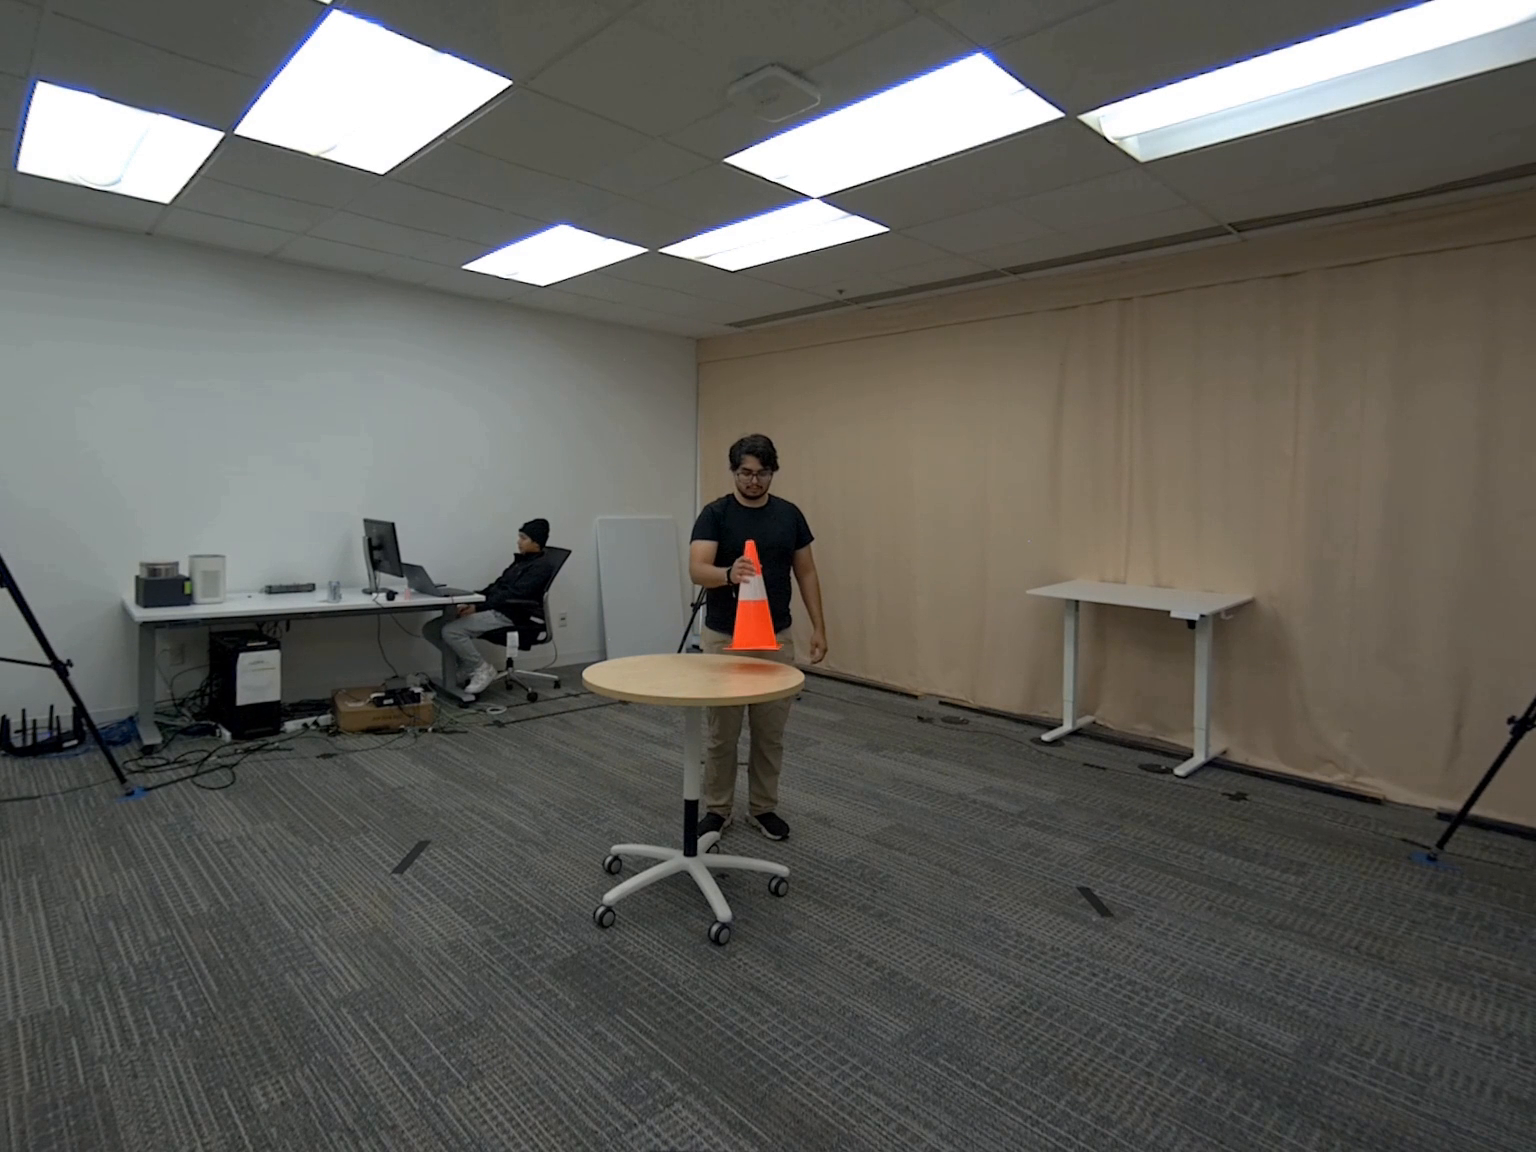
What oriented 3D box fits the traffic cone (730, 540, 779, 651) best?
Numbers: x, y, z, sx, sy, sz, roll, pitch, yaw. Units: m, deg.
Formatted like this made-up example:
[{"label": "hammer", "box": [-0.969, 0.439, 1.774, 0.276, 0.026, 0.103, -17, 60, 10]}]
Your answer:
[{"label": "traffic cone", "box": [-0.069, 0.063, 3.030, 0.203, 0.384, 0.205, 0, -1, 0]}]
